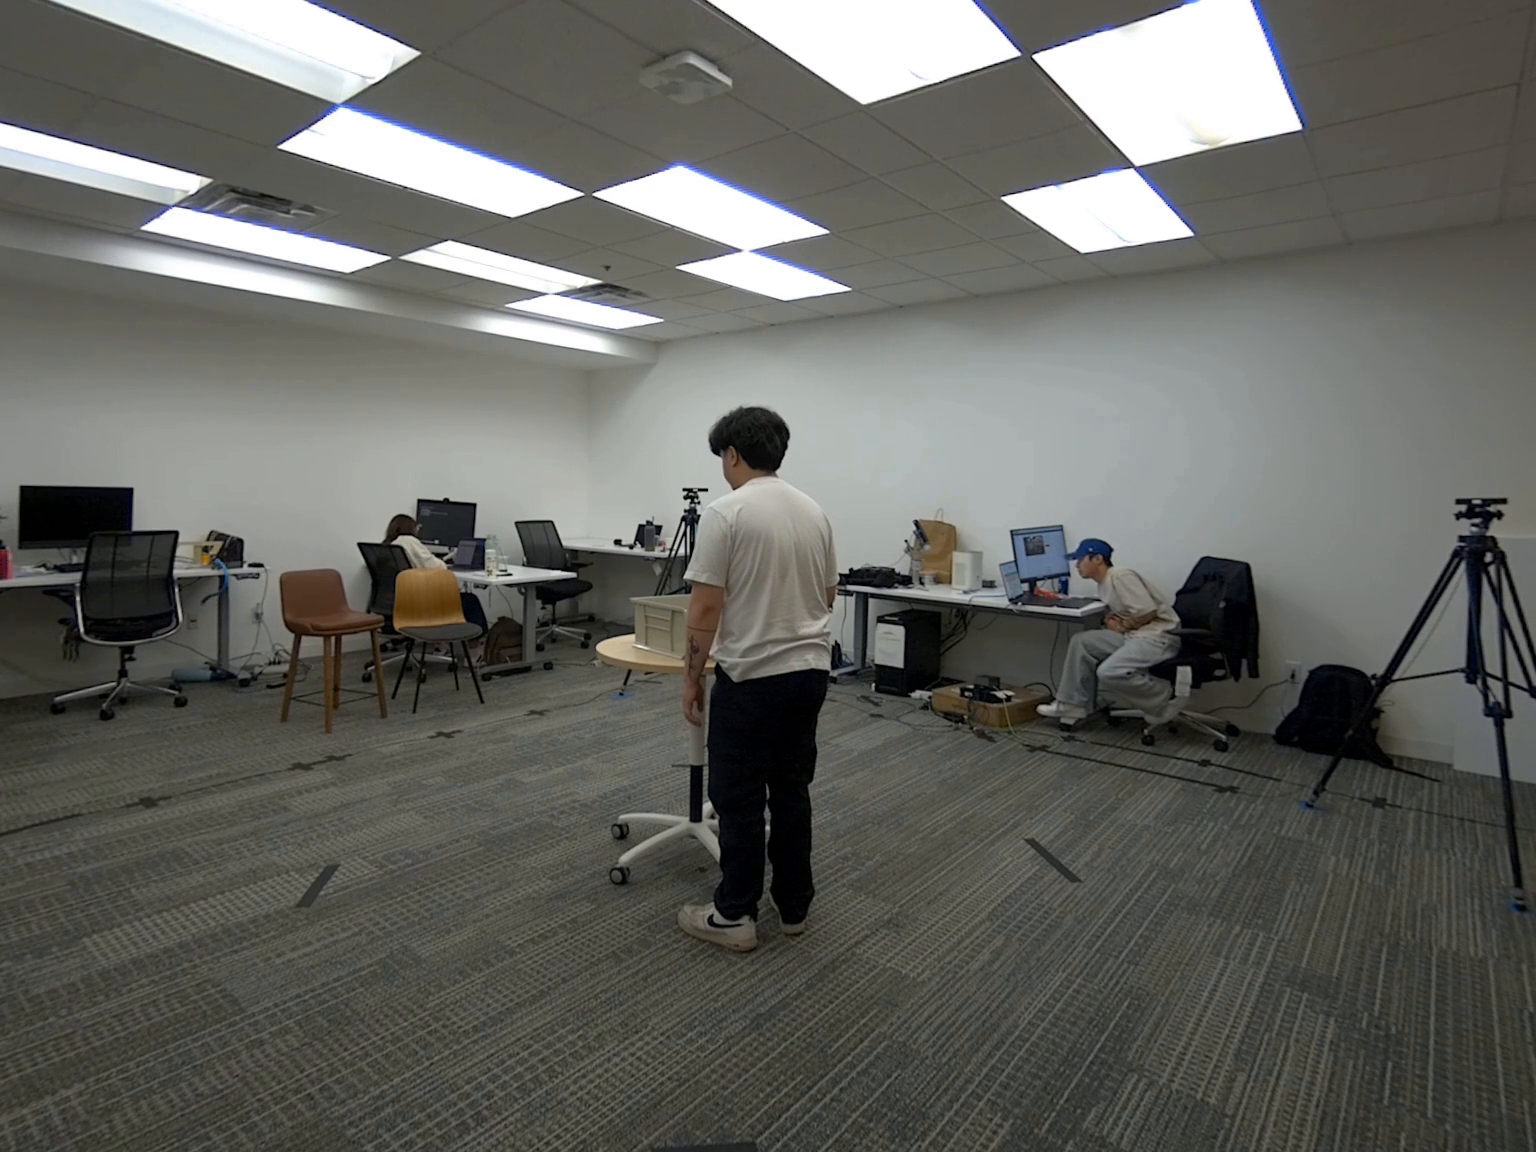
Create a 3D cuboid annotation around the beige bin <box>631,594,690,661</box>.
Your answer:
[{"bbox_3d":[-0.244,0.174,3.146,0.410,0.188,0.390,-5,6,-40],"label":"beige bin"}]
